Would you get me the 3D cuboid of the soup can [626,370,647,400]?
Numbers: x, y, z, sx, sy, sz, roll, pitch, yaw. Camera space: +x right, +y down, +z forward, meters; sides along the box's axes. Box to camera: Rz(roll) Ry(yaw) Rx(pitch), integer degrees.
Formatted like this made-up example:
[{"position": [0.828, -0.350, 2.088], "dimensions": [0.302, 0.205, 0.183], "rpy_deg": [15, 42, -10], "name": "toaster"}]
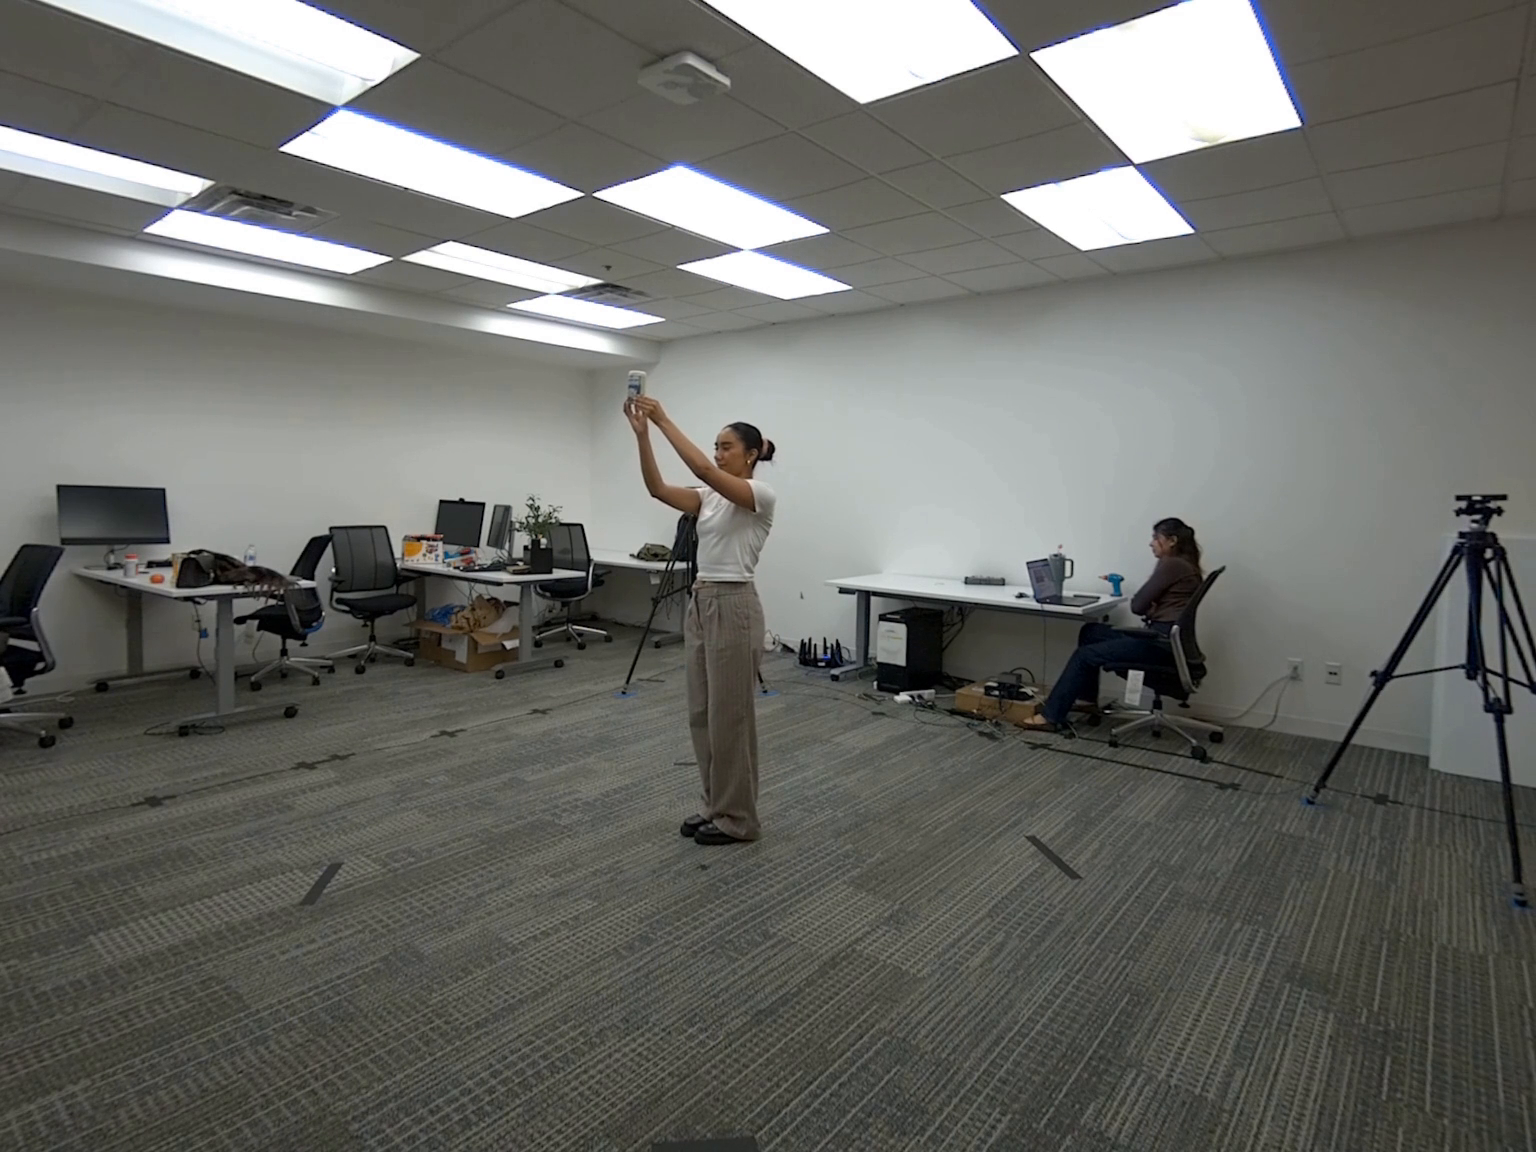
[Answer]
[{"position": [-0.508, -0.722, 3.230], "dimensions": [0.067, 0.121, 0.067], "rpy_deg": [4, 5, -2], "name": "soup can"}]
